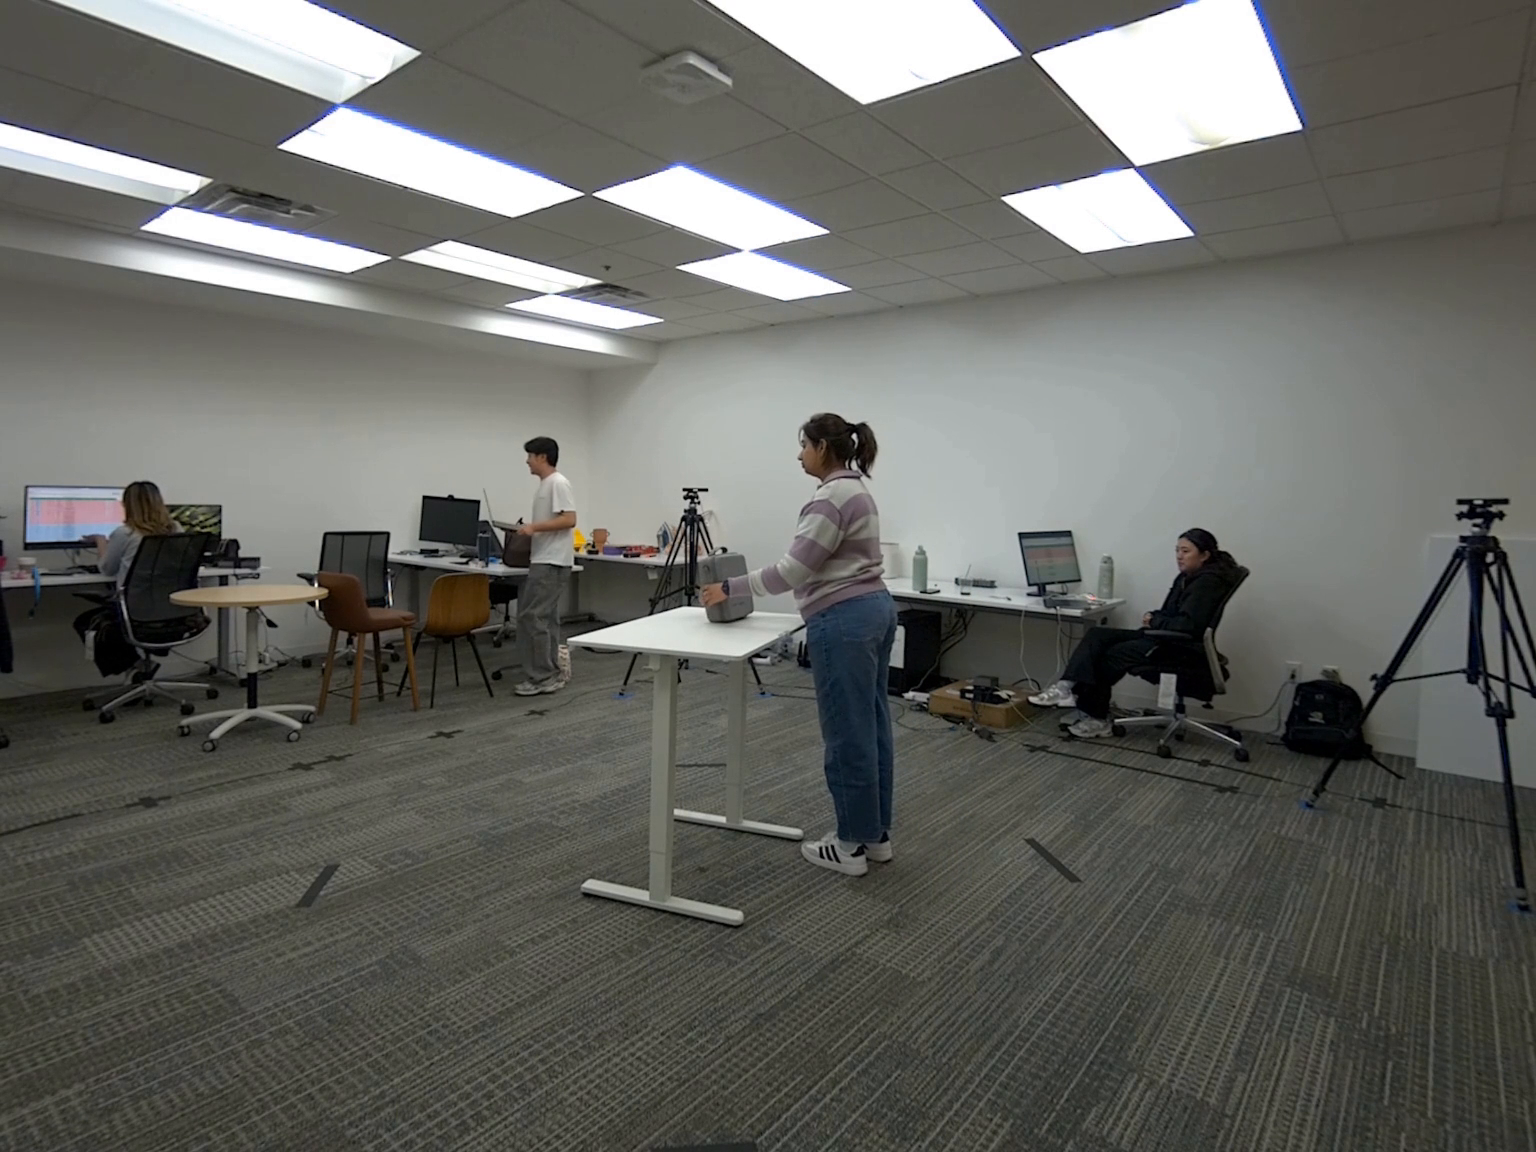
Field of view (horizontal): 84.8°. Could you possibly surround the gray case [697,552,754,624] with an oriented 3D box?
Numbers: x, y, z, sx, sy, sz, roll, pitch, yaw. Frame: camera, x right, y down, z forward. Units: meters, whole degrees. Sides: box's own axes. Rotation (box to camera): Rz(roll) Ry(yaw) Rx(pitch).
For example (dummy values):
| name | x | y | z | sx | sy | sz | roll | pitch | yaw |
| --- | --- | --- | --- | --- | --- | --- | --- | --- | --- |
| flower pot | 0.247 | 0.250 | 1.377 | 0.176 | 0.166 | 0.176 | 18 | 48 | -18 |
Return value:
| name | x | y | z | sx | sy | sz | roll | pitch | yaw |
| --- | --- | --- | --- | --- | --- | --- | --- | --- | --- |
| gray case | -0.177 | 0.032 | 3.345 | 0.106 | 0.262 | 0.250 | -11 | -4 | 25 |
